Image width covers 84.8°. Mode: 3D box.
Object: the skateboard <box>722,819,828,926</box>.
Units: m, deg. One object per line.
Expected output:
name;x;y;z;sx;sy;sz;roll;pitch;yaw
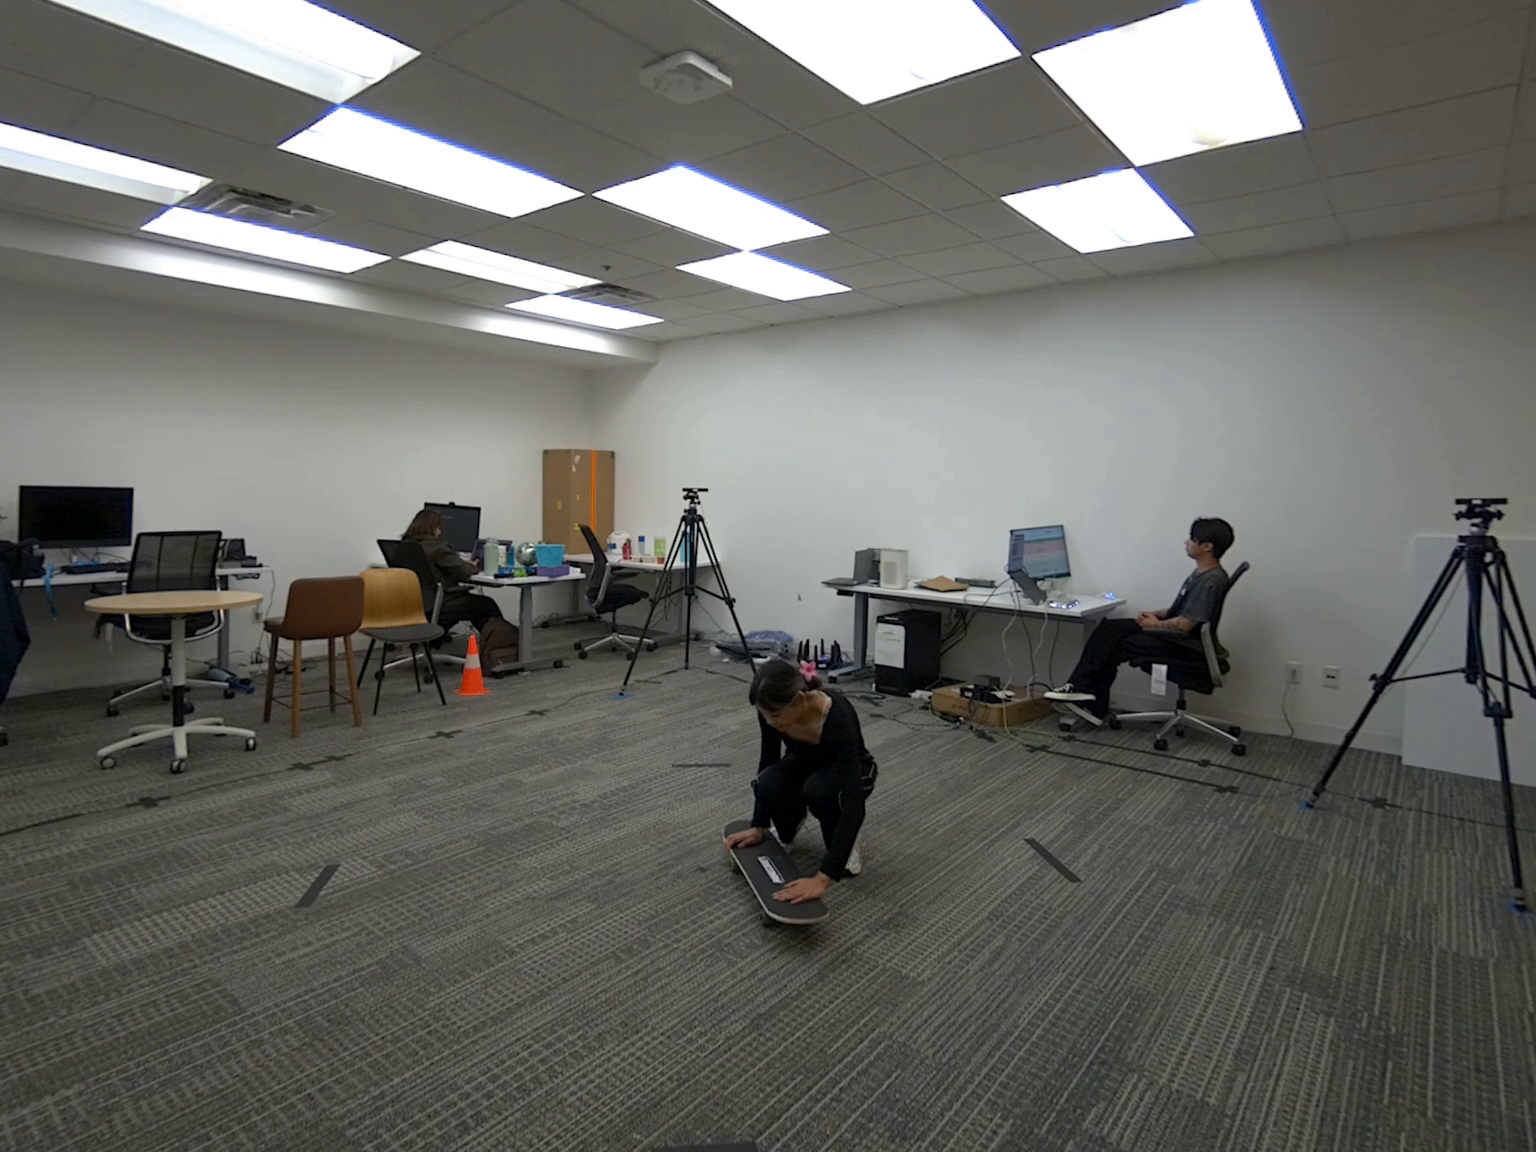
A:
skateboard;0.004;1.034;2.924;0.190;0.110;0.801;-2;5;-17
